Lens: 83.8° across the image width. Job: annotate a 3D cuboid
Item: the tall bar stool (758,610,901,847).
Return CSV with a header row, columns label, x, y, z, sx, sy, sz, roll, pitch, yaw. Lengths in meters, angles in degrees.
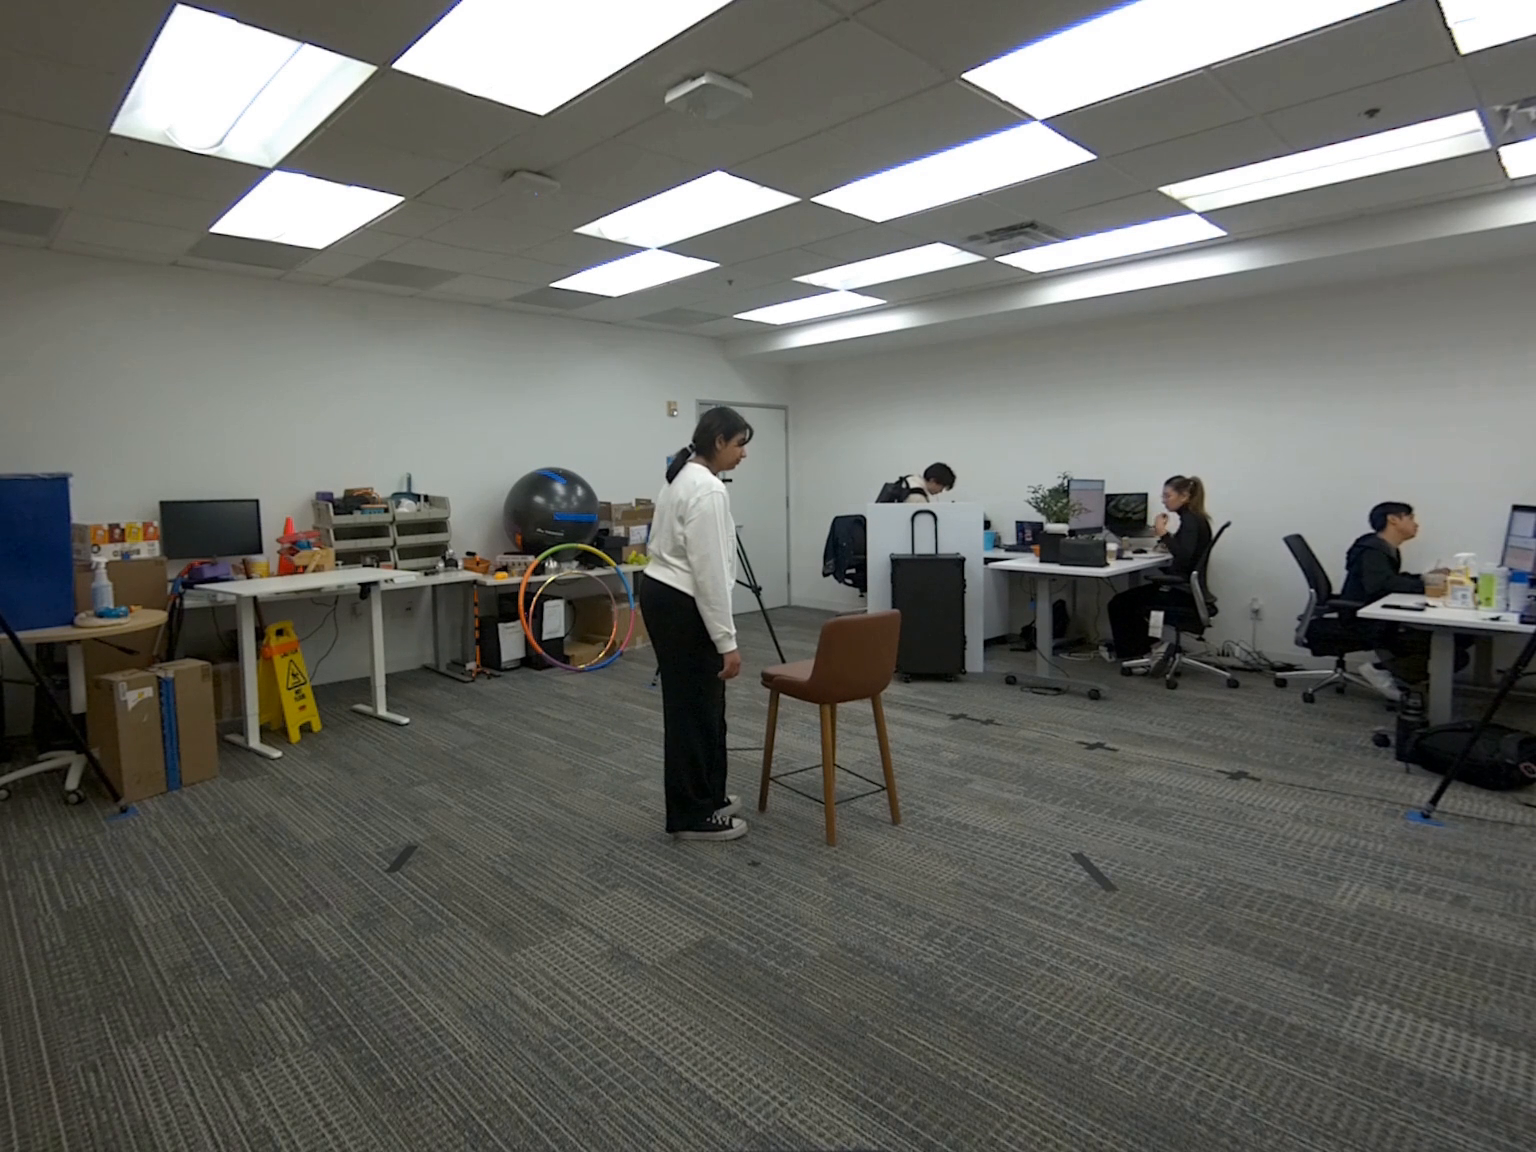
label,x,y,z,sx,sy,sz,roll,pitch,yaw
tall bar stool,0.249,0.559,3.497,0.445,0.885,0.482,-4,7,-36
